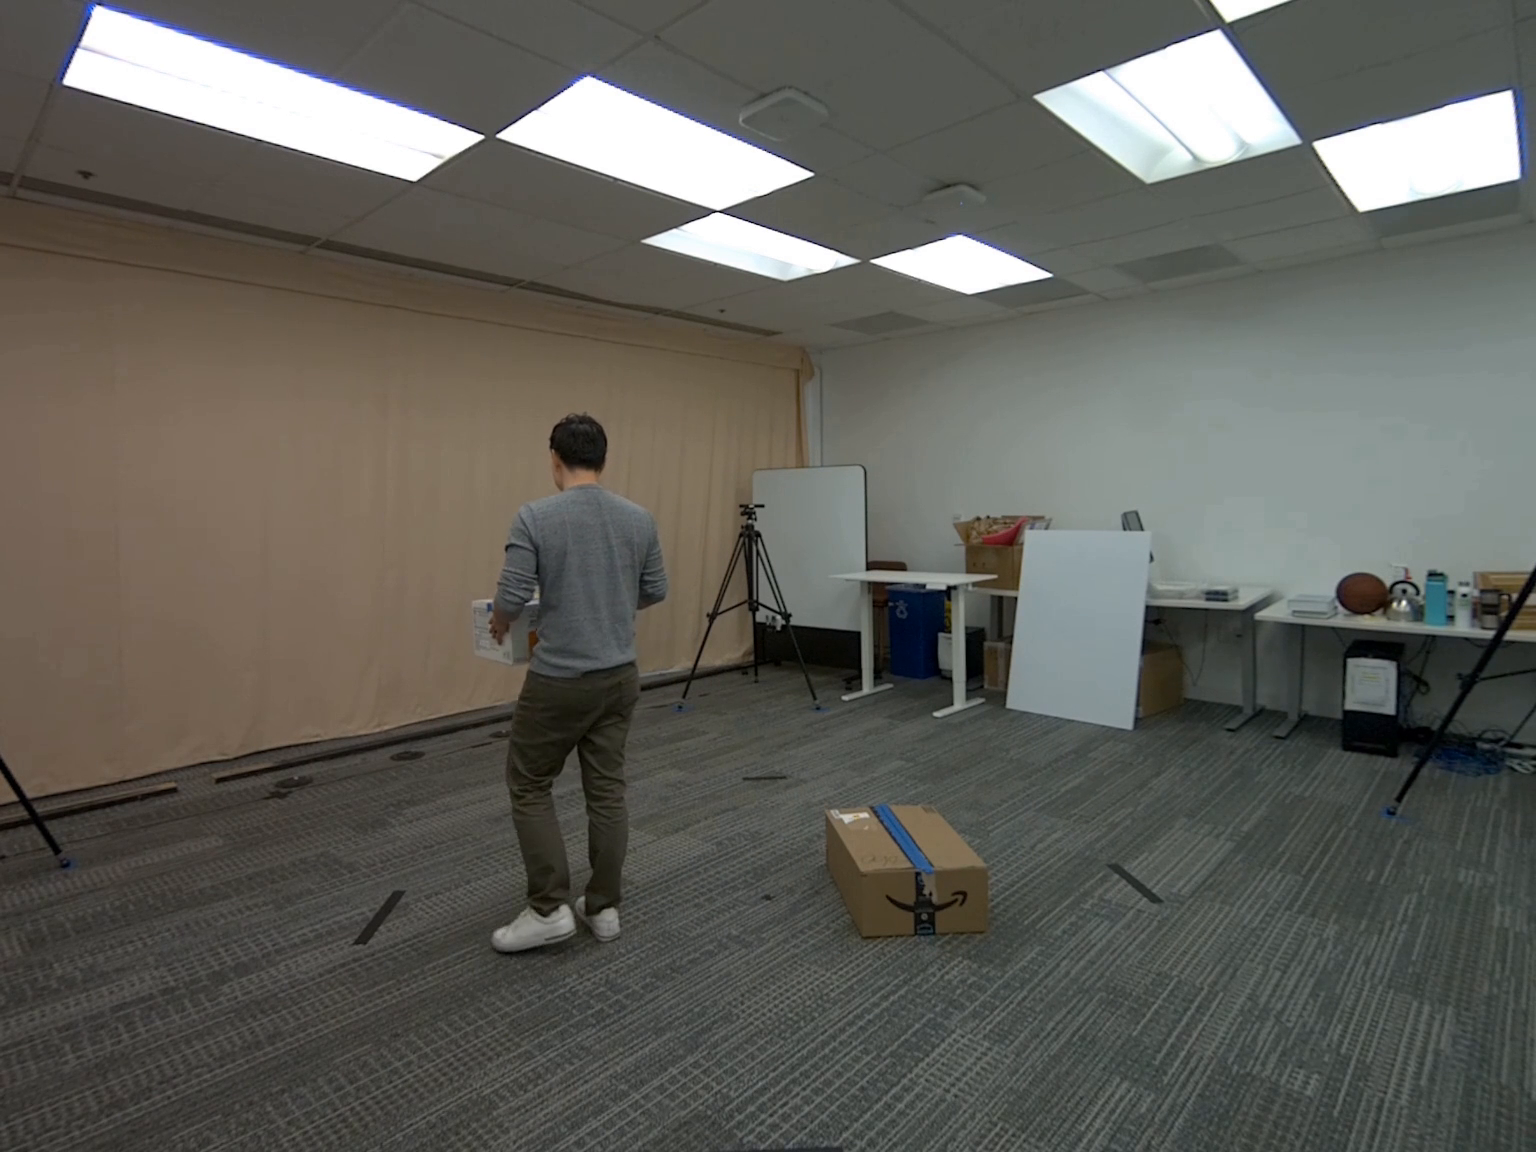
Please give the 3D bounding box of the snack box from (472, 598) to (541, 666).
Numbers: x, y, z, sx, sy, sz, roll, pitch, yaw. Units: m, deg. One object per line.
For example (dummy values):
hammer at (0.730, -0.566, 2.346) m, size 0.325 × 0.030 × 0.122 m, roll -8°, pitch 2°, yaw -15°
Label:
snack box at (-0.812, 0.183, 3.045) m, size 0.393 × 0.205 × 0.351 m, roll -6°, pitch 5°, yaw -40°
